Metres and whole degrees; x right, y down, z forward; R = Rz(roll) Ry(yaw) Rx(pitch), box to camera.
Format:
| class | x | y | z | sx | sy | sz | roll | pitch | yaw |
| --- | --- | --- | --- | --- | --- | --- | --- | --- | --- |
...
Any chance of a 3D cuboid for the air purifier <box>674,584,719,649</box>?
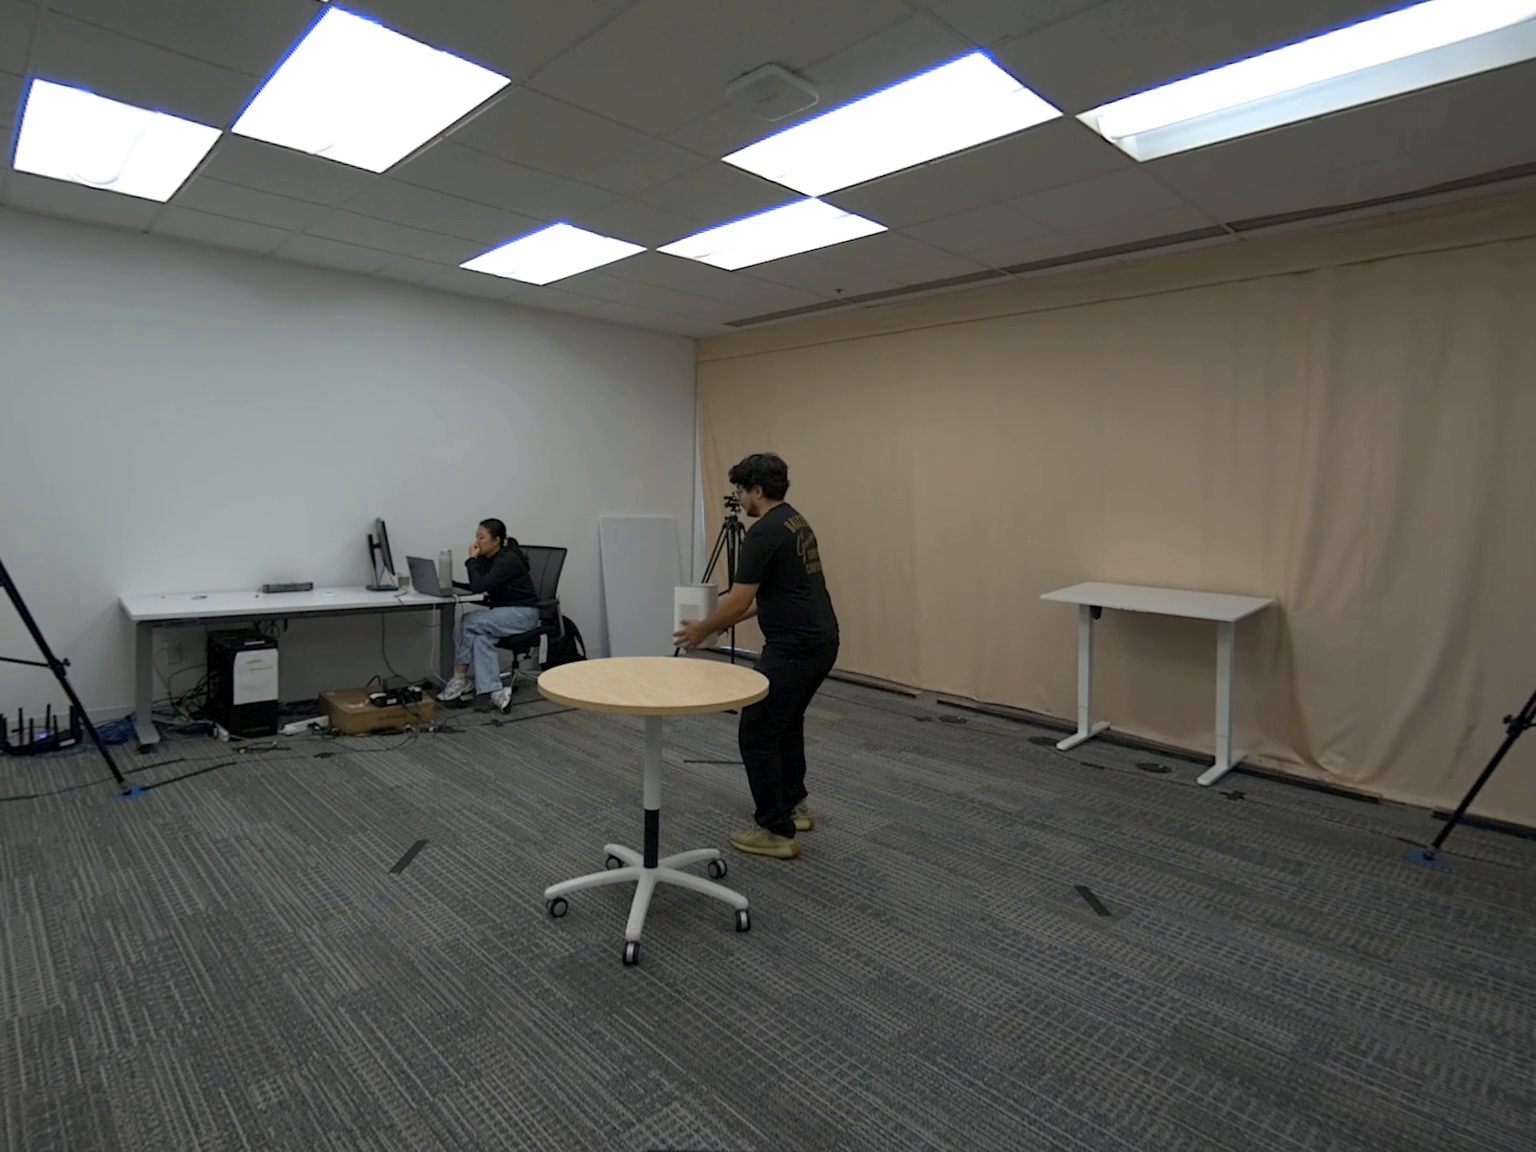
| class | x | y | z | sx | sy | sz | roll | pitch | yaw |
| --- | --- | --- | --- | --- | --- | --- | --- | --- | --- |
| air purifier | -0.306 | 0.169 | 3.606 | 0.174 | 0.265 | 0.169 | 1 | 1 | 18 |
